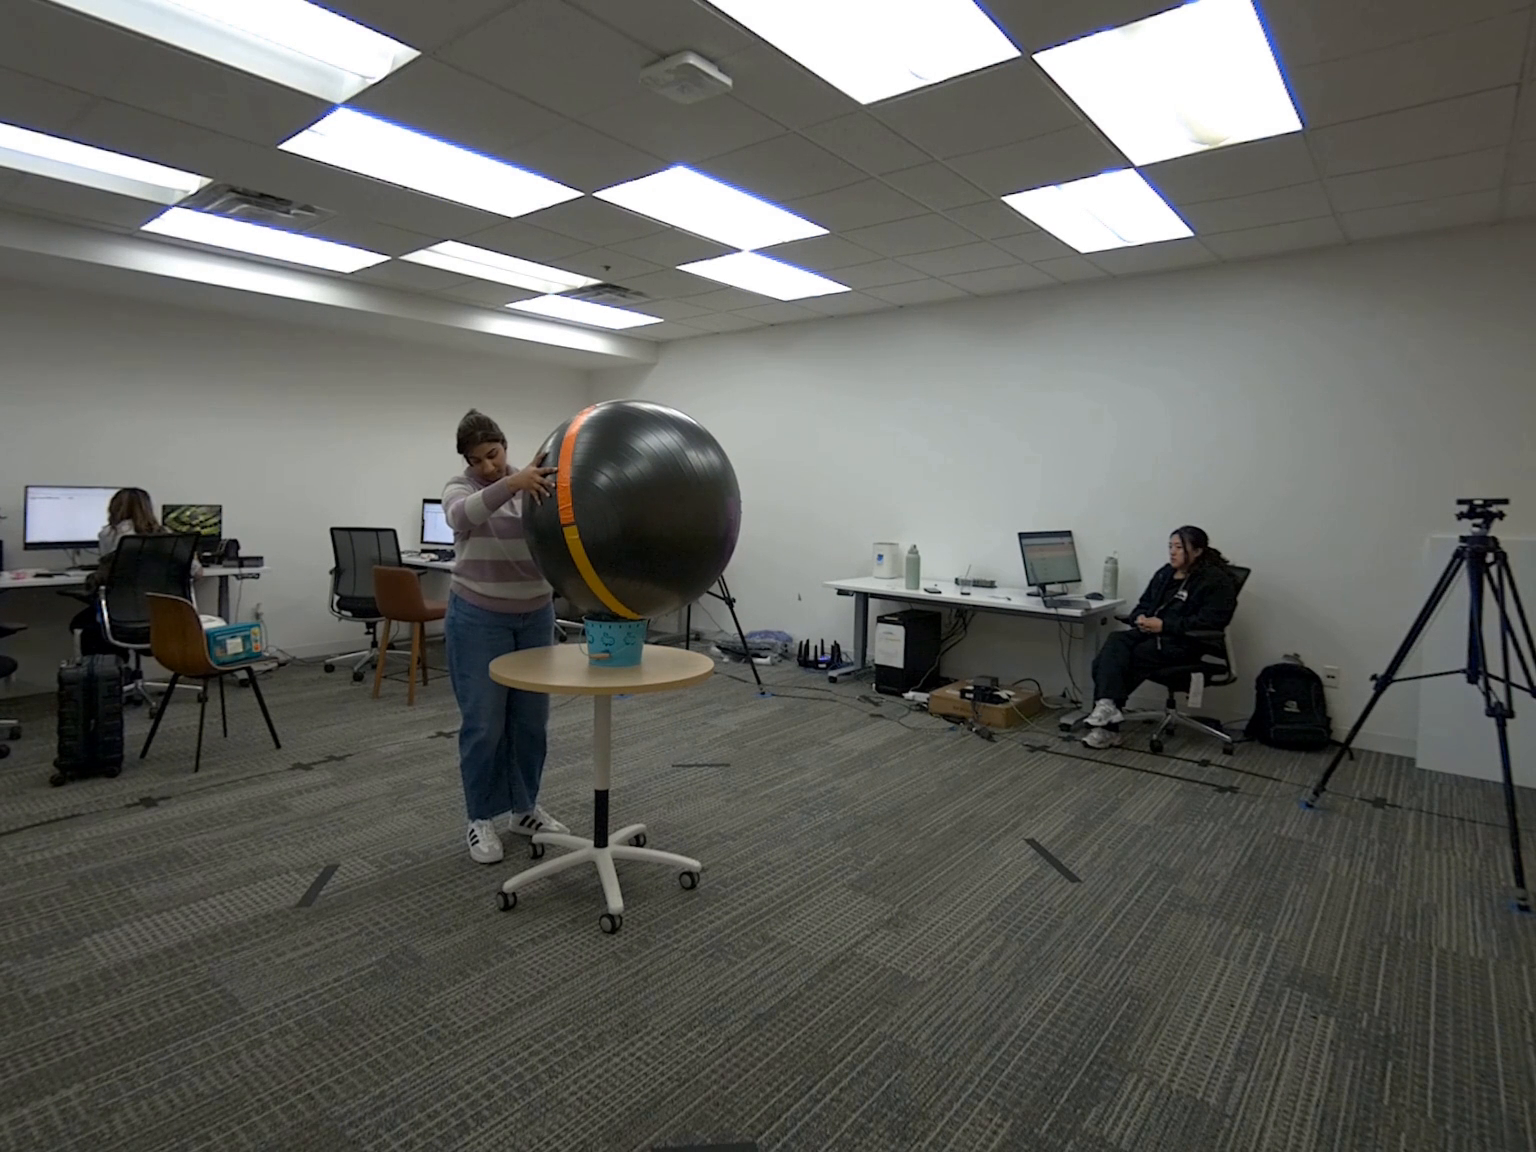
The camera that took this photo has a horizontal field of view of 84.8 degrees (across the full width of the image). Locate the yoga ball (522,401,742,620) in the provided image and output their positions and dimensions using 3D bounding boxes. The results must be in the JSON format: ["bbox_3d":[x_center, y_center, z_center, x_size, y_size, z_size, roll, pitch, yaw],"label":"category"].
[{"bbox_3d":[-0.477,-0.226,2.945,0.757,0.755,0.762,1,4,-2],"label":"yoga ball"}]
